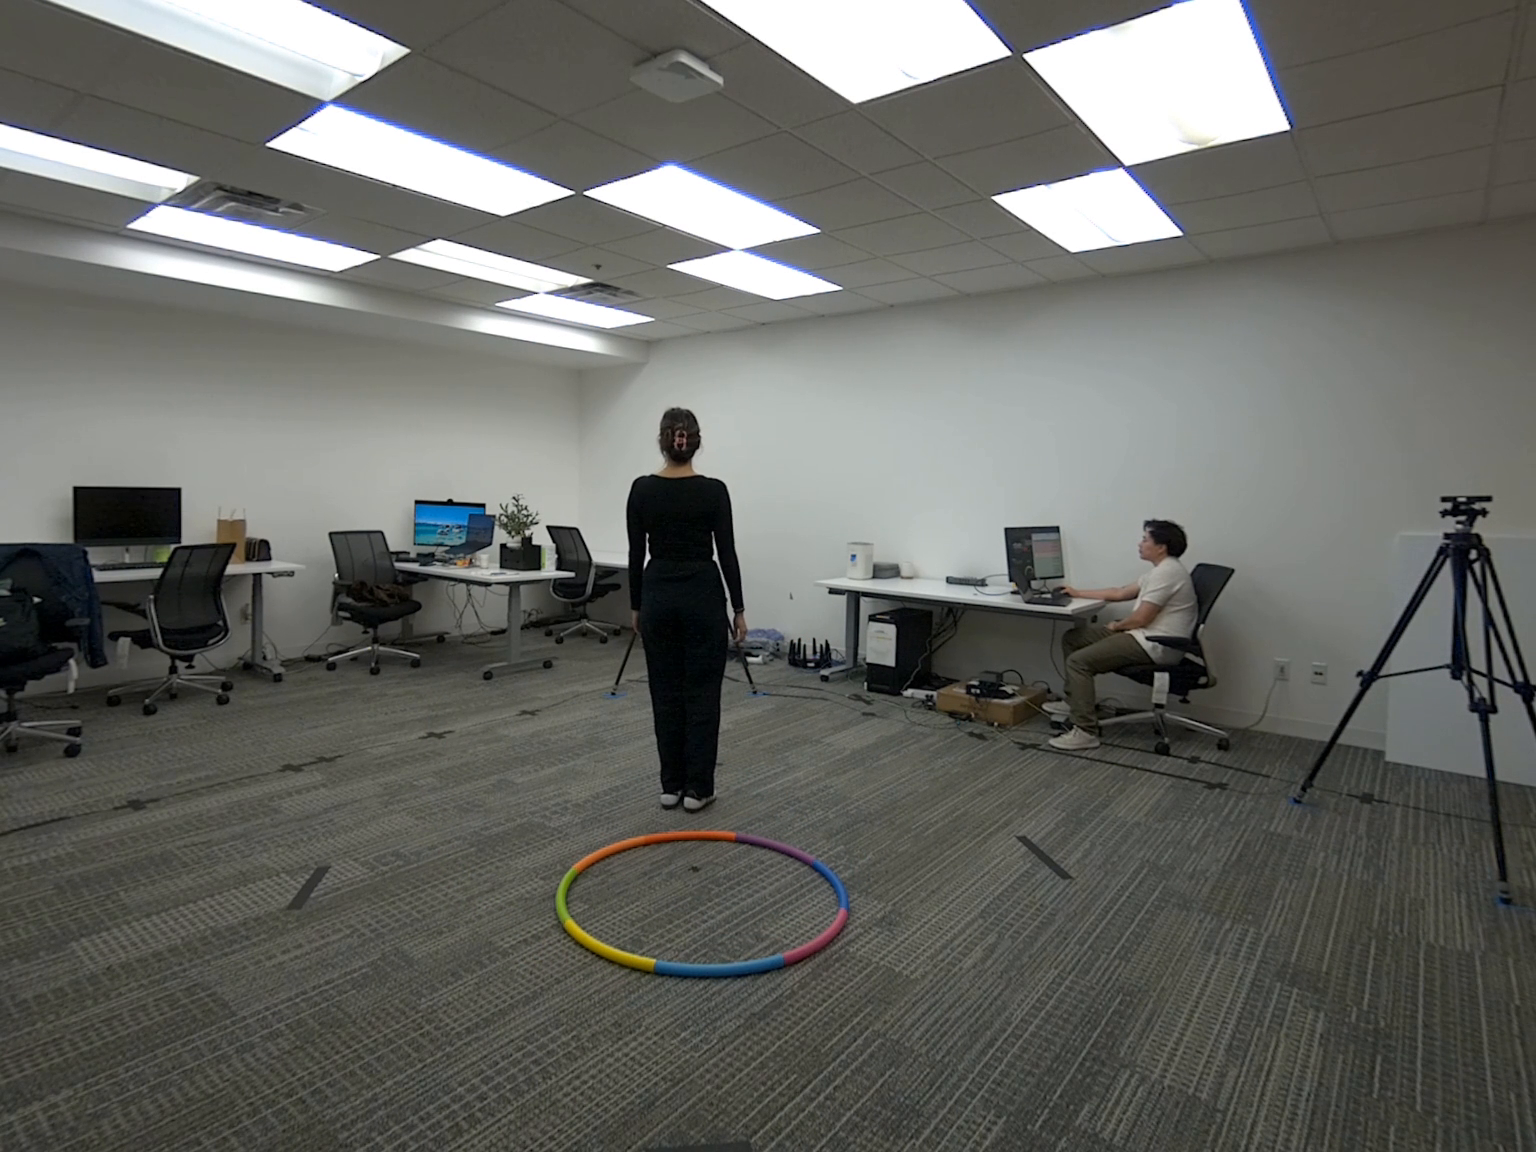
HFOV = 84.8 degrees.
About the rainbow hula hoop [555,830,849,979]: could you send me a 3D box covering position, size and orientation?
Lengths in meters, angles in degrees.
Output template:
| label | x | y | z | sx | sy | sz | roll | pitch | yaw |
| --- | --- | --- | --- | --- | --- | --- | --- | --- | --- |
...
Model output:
| label | x | y | z | sx | sy | sz | roll | pitch | yaw |
| --- | --- | --- | --- | --- | --- | --- | --- | --- | --- |
| rainbow hula hoop | -0.232 | 1.057 | 2.892 | 0.978 | 0.035 | 0.984 | 1 | 6 | -2 |
